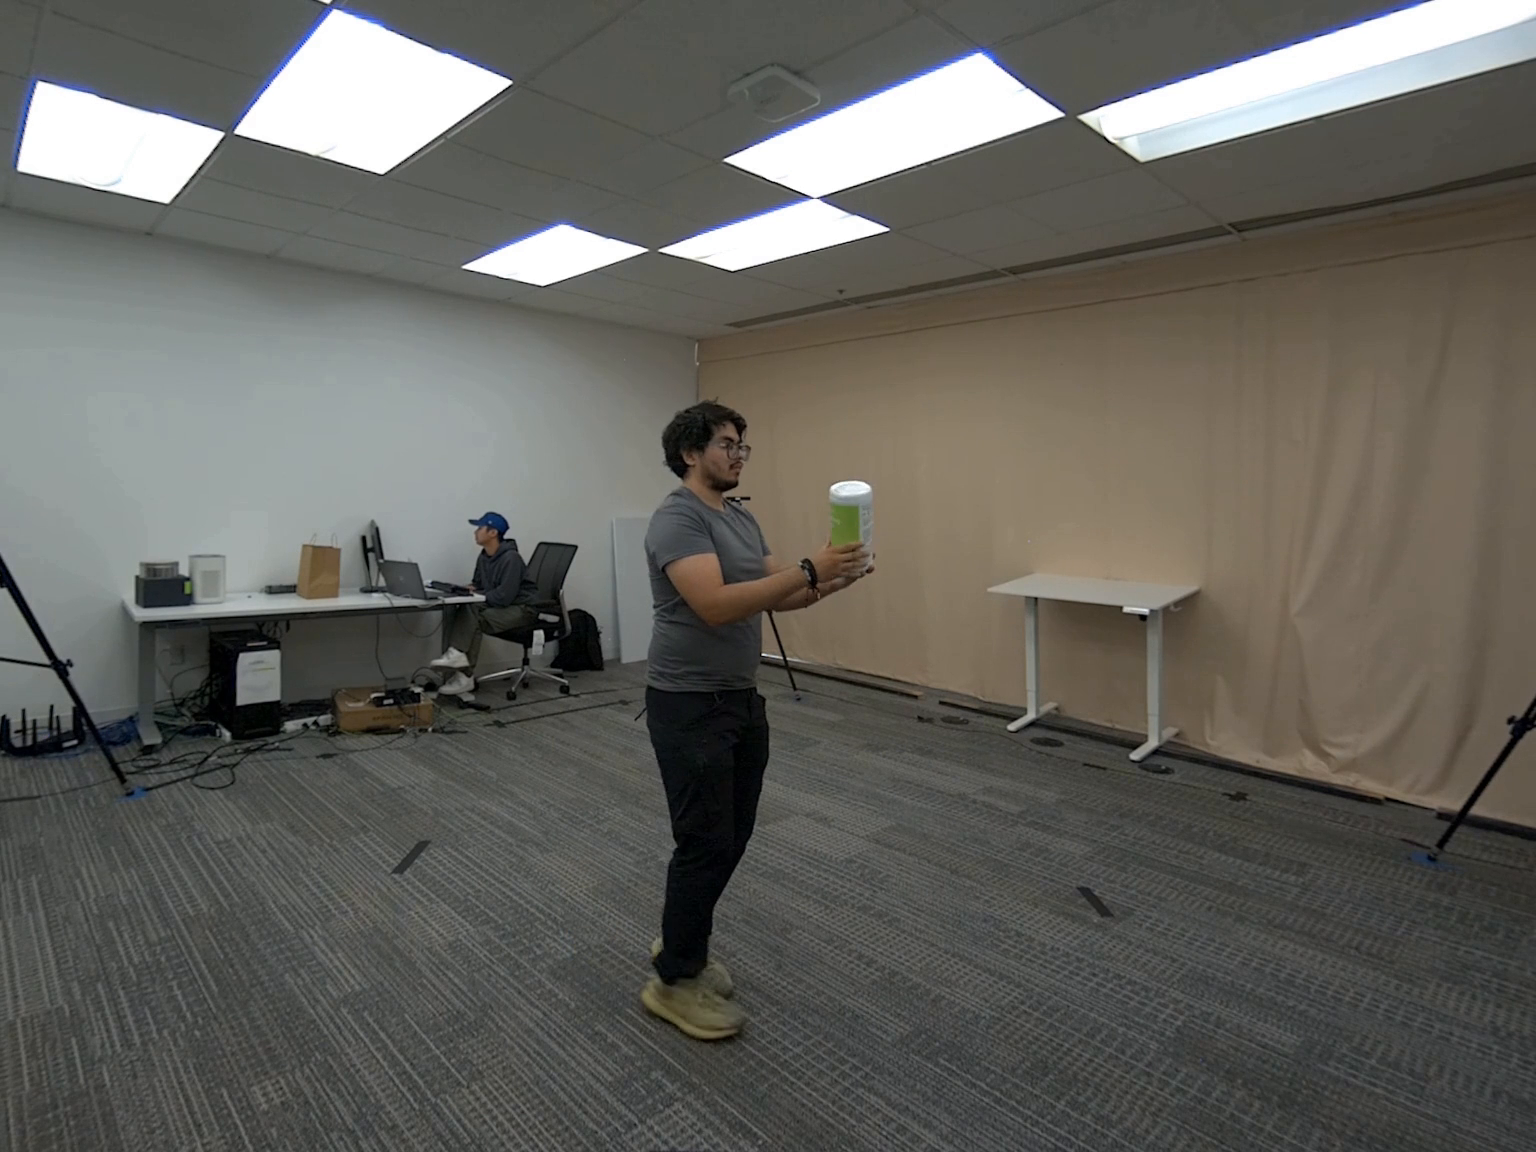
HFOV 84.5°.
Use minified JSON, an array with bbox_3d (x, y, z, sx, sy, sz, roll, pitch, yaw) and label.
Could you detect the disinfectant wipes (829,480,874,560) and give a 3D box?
[{"bbox_3d":[0.206,-0.126,2.154,0.118,0.214,0.119,-5,19,1],"label":"disinfectant wipes"}]
